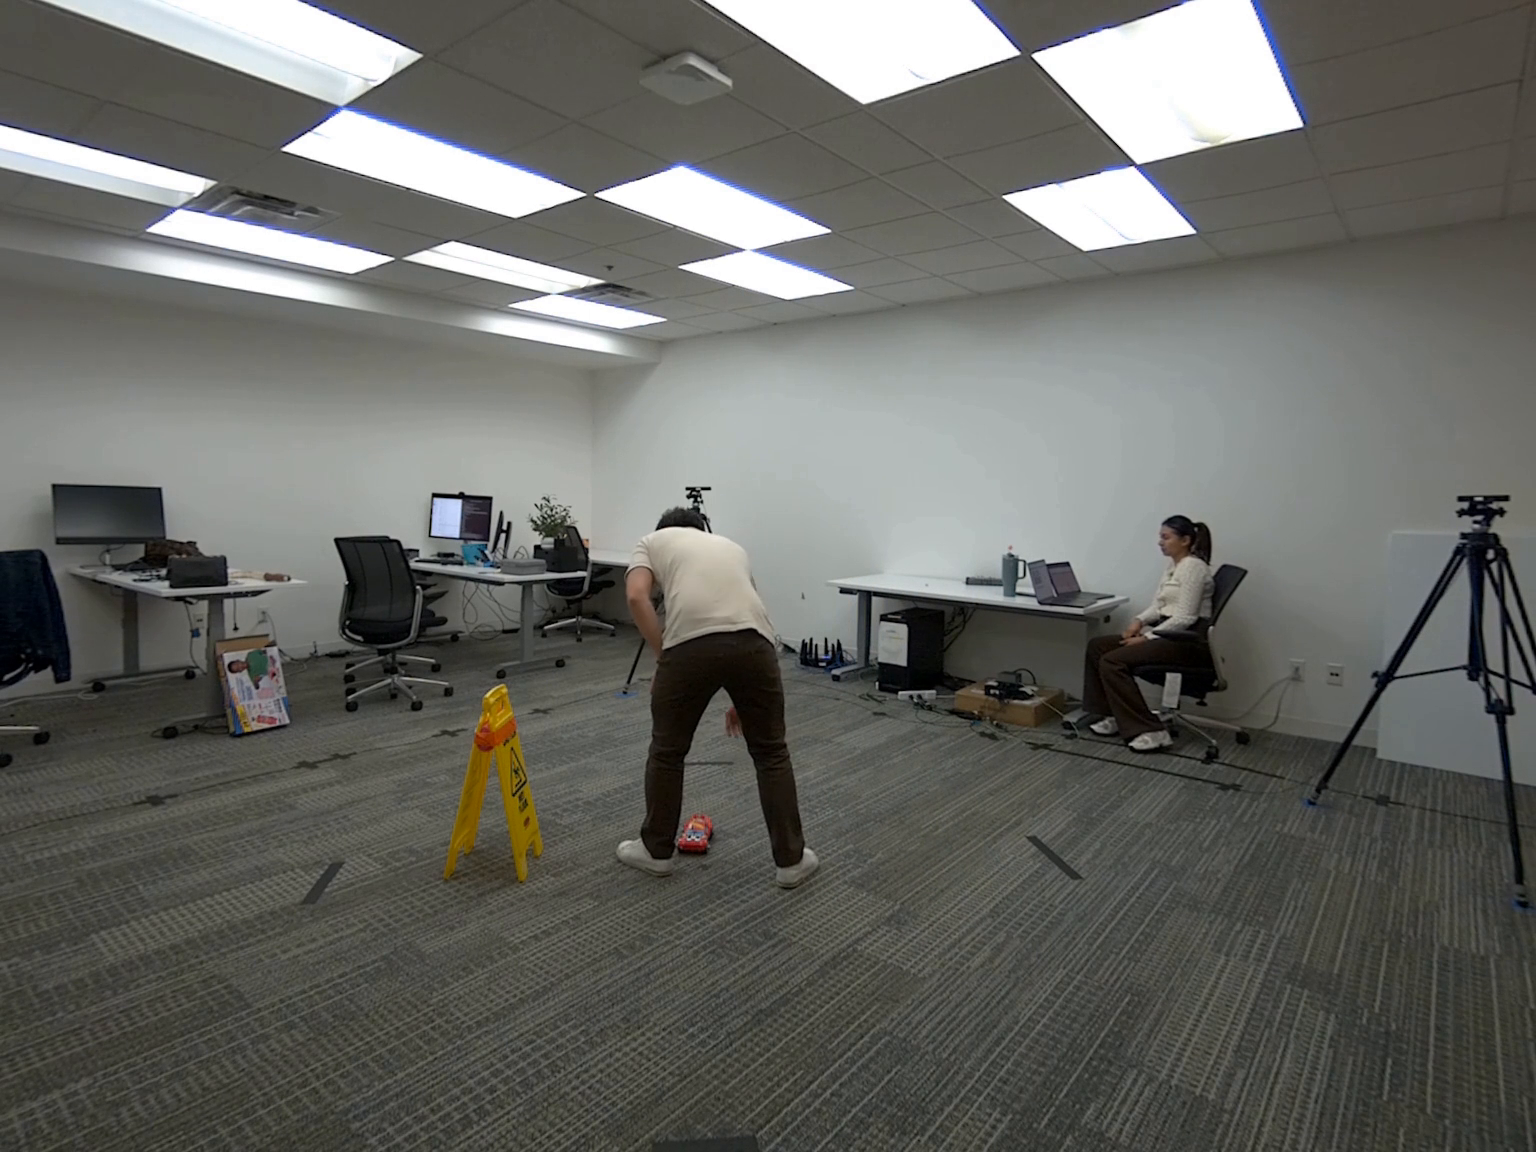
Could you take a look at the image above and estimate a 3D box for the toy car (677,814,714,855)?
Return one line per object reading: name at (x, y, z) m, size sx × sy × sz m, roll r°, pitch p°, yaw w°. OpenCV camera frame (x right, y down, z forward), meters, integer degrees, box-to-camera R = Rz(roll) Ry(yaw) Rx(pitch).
toy car at (-0.286, 1.012, 3.340) m, size 0.131 × 0.082 × 0.256 m, roll 1°, pitch 16°, yaw 5°
